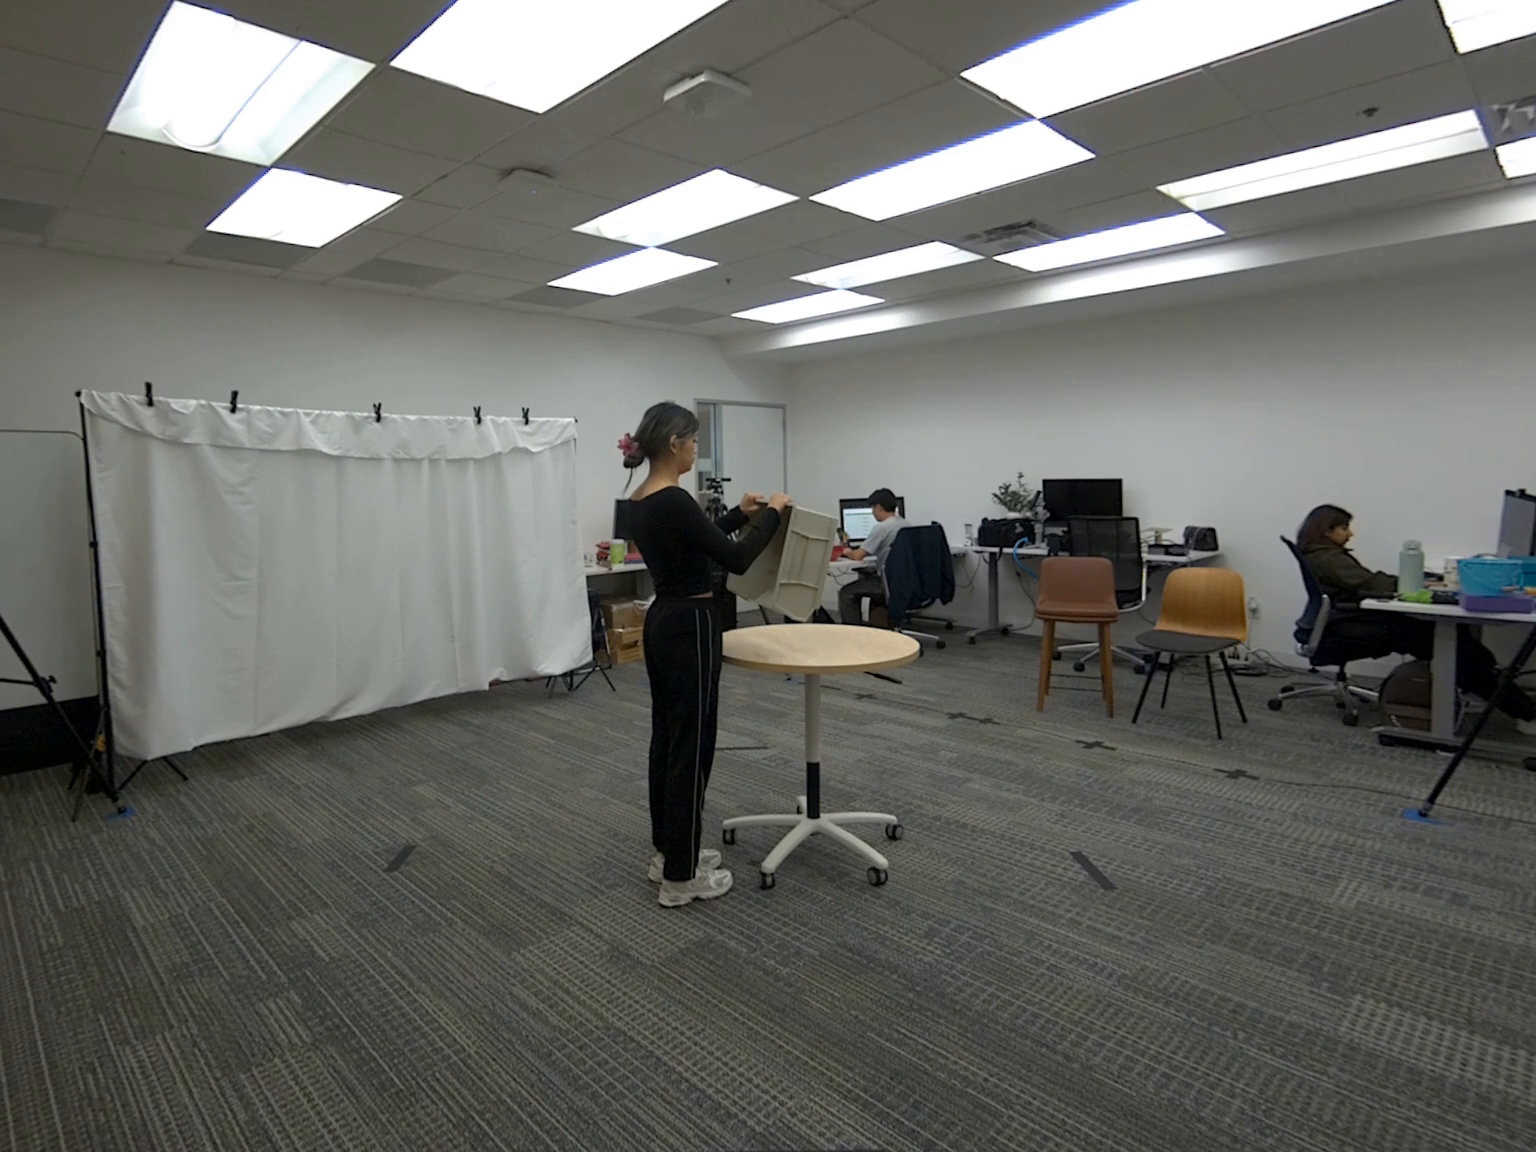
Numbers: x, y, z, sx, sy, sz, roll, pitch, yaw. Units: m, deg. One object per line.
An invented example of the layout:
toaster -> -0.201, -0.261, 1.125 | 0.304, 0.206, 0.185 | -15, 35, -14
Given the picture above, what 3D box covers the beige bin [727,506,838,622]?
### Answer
beige bin -> 0.039, -0.067, 3.035 | 0.184, 0.377, 0.432 | 15, 0, -23
